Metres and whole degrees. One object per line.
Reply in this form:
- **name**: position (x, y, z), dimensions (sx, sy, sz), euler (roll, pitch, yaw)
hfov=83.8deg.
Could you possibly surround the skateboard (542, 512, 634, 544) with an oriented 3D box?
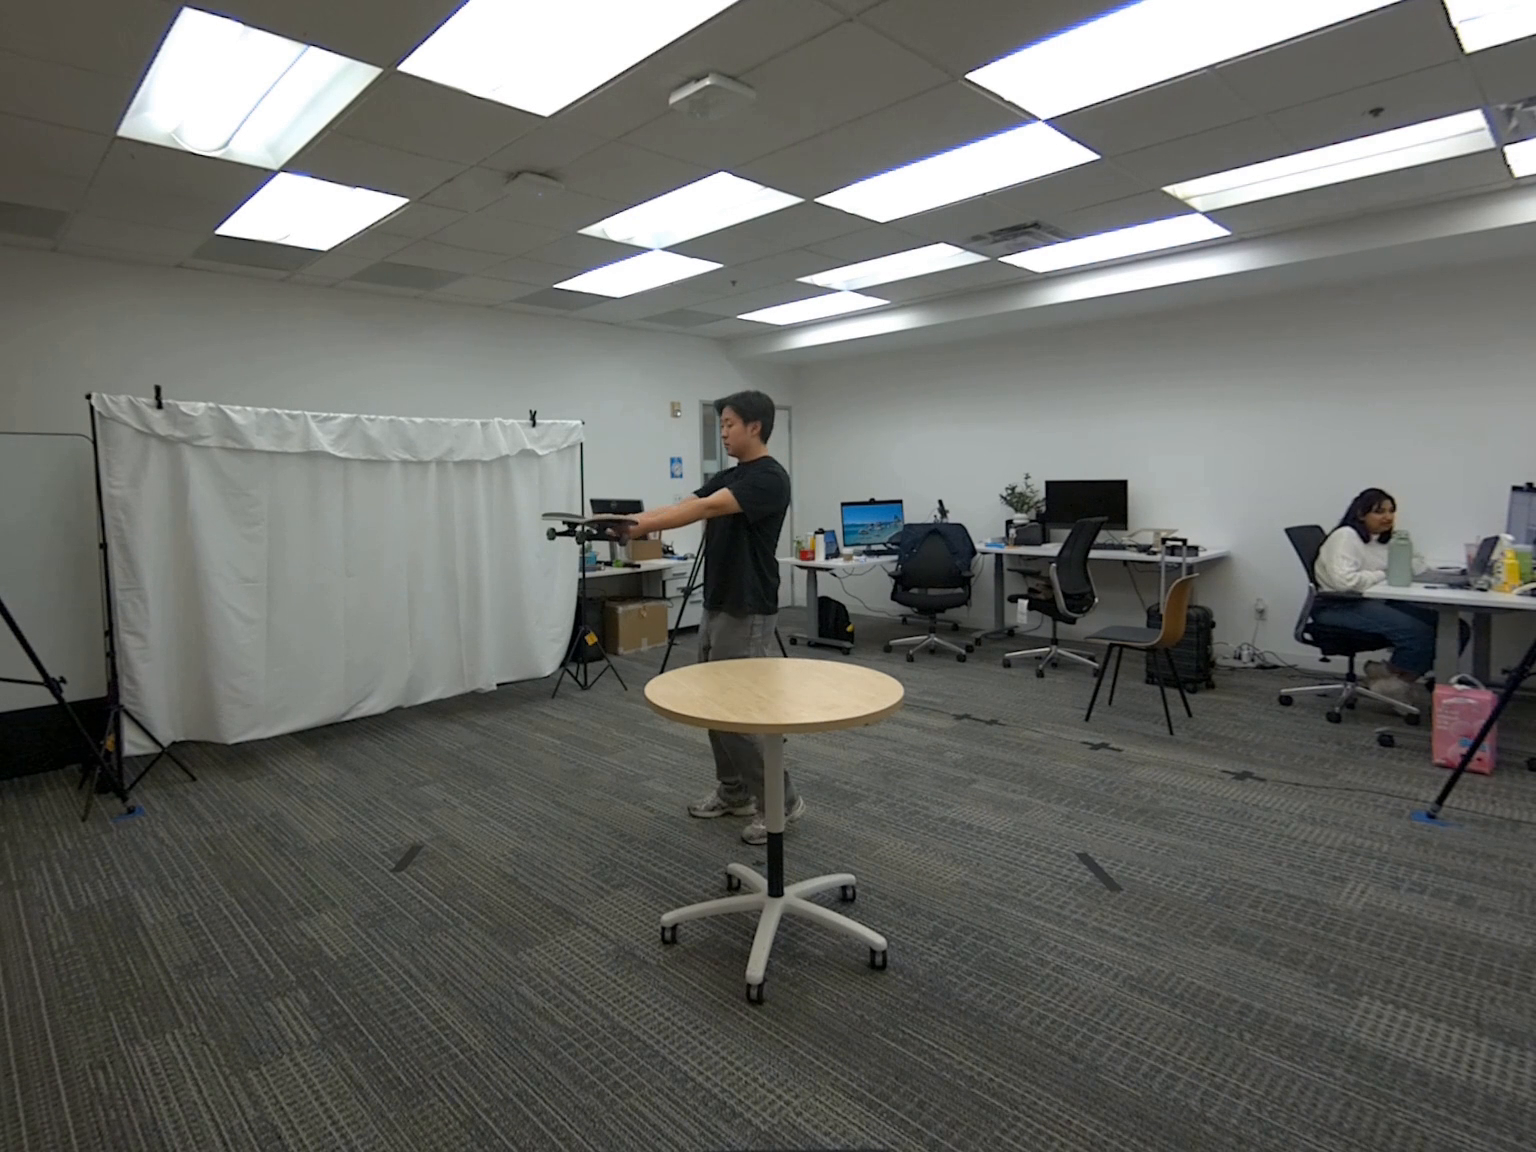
- **skateboard**: position (-0.670, -0.182, 3.171), dimensions (0.189, 0.110, 0.806), euler (0, 4, -30)
